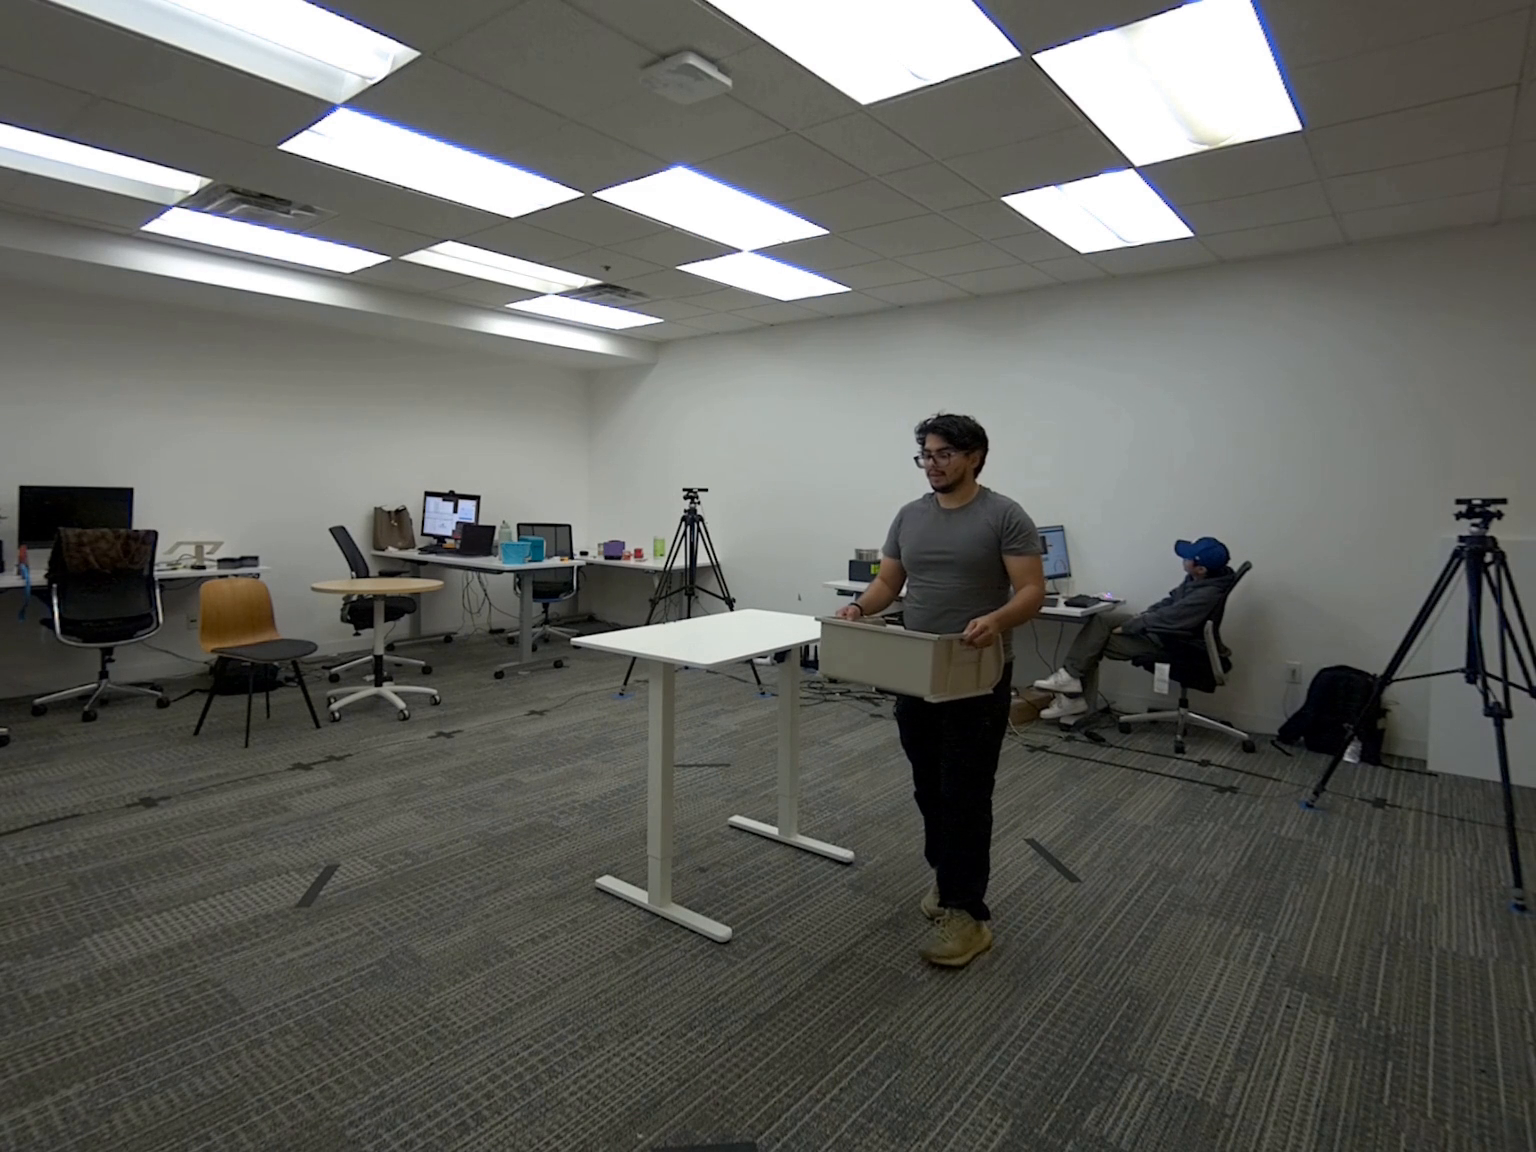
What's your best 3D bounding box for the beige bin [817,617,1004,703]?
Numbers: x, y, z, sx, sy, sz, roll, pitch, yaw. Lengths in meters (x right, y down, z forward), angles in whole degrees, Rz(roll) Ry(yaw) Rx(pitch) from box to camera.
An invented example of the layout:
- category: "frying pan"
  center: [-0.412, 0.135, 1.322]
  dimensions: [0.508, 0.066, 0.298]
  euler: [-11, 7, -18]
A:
- category: "beige bin"
  center: [0.408, 0.225, 2.505]
  dimensions: [0.437, 0.188, 0.365]
  euler: [7, 5, 44]
